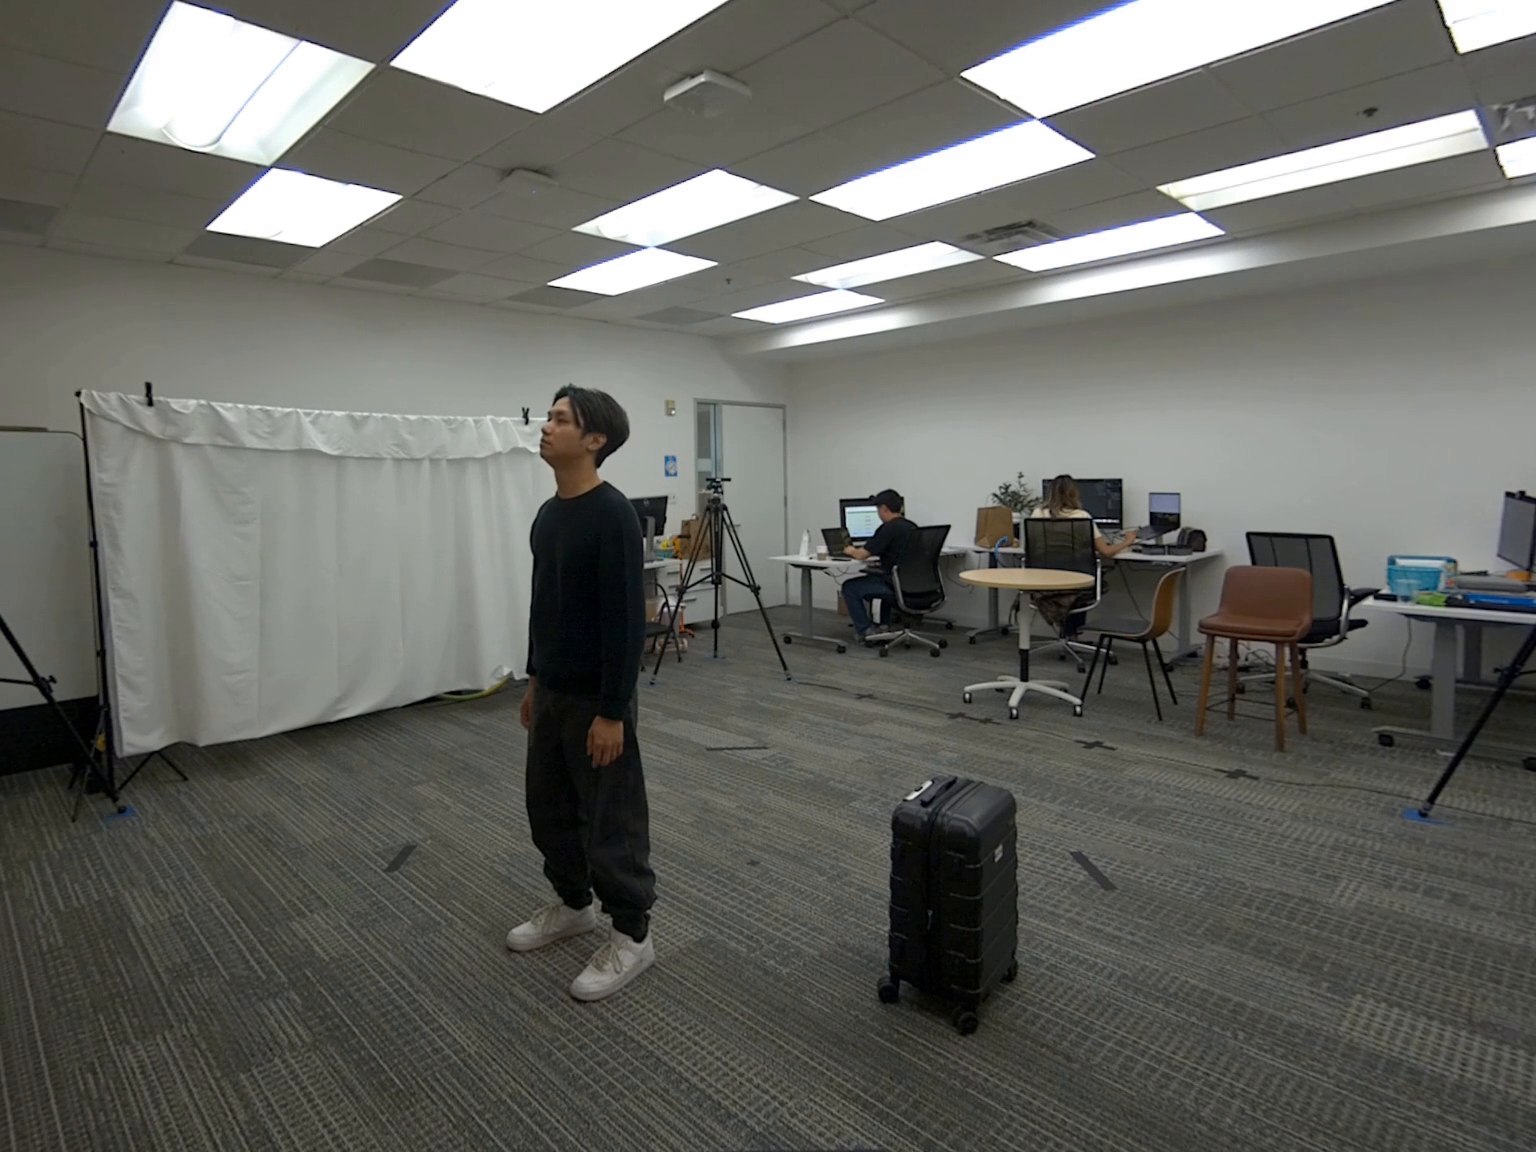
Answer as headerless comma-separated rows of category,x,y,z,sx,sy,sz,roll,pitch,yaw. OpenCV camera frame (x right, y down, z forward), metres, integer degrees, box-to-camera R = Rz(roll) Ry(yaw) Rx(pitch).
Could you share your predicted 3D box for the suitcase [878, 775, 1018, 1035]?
suitcase,0.523,0.856,2.322,0.255,0.547,0.366,4,5,32
